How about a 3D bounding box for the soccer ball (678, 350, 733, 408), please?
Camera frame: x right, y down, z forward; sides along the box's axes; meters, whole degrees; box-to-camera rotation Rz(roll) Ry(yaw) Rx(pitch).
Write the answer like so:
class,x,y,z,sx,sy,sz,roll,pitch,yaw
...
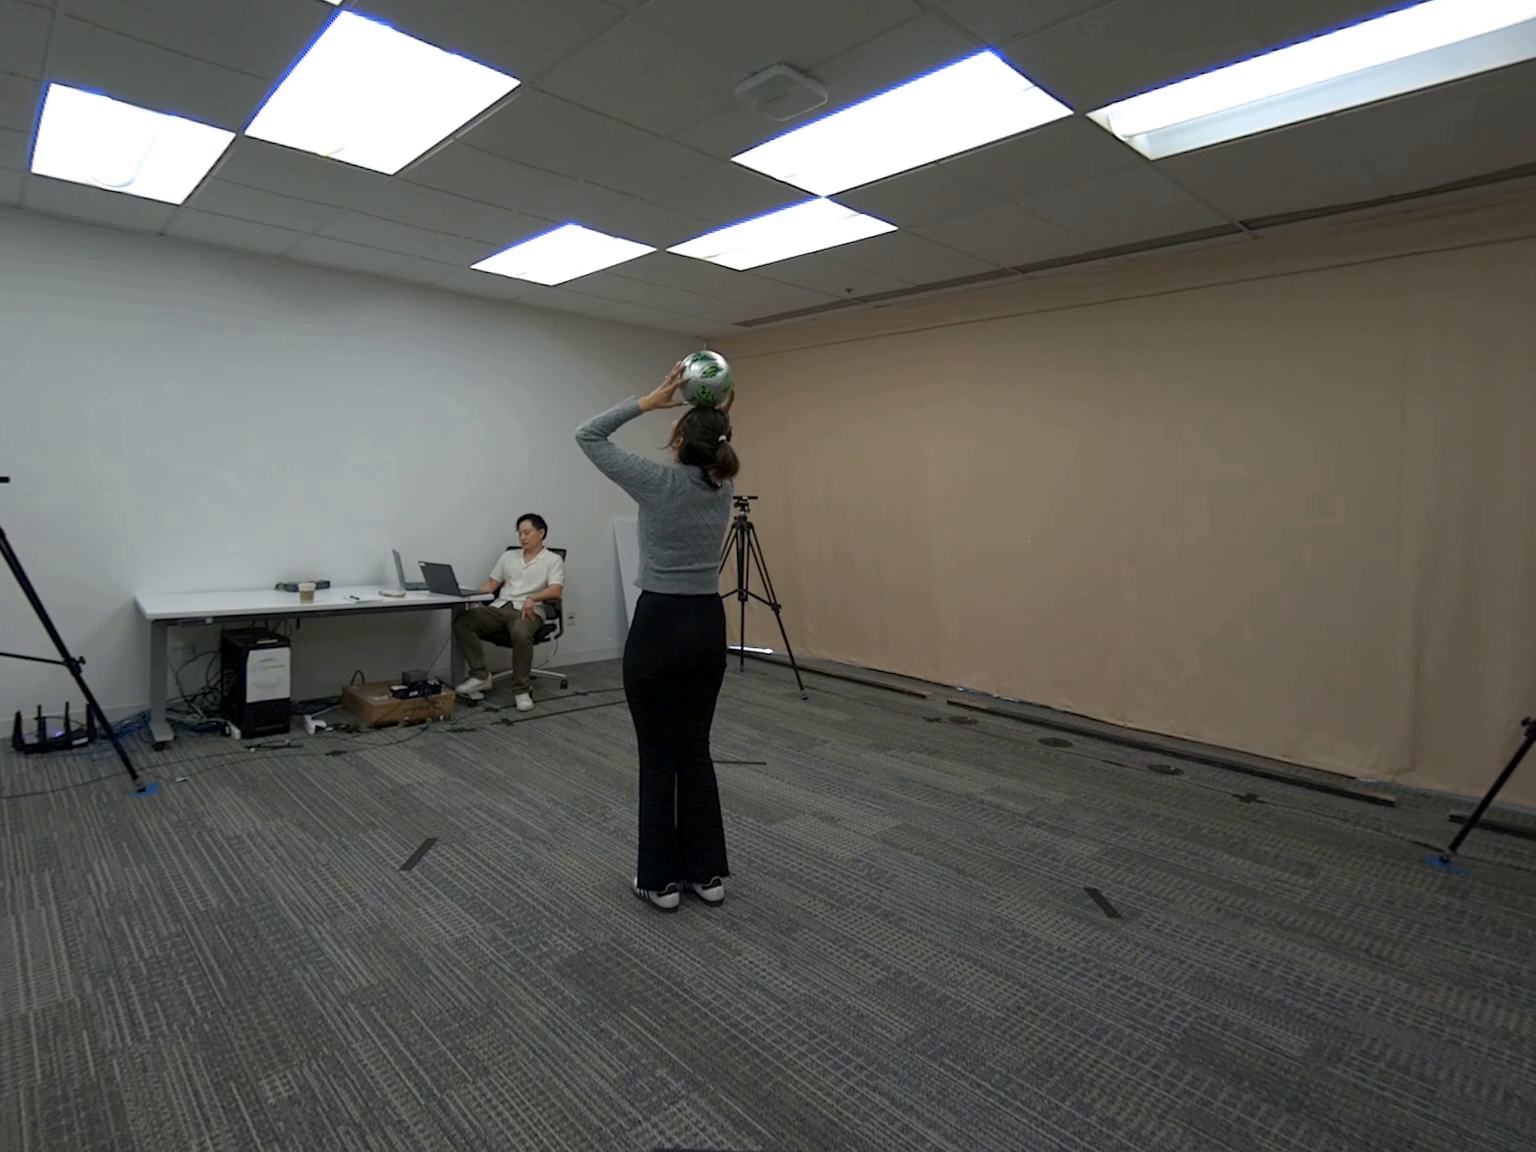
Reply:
class,x,y,z,sx,sy,sz,roll,pitch,yaw
soccer ball,-0.222,-0.647,2.782,0.187,0.187,0.188,1,4,-1
